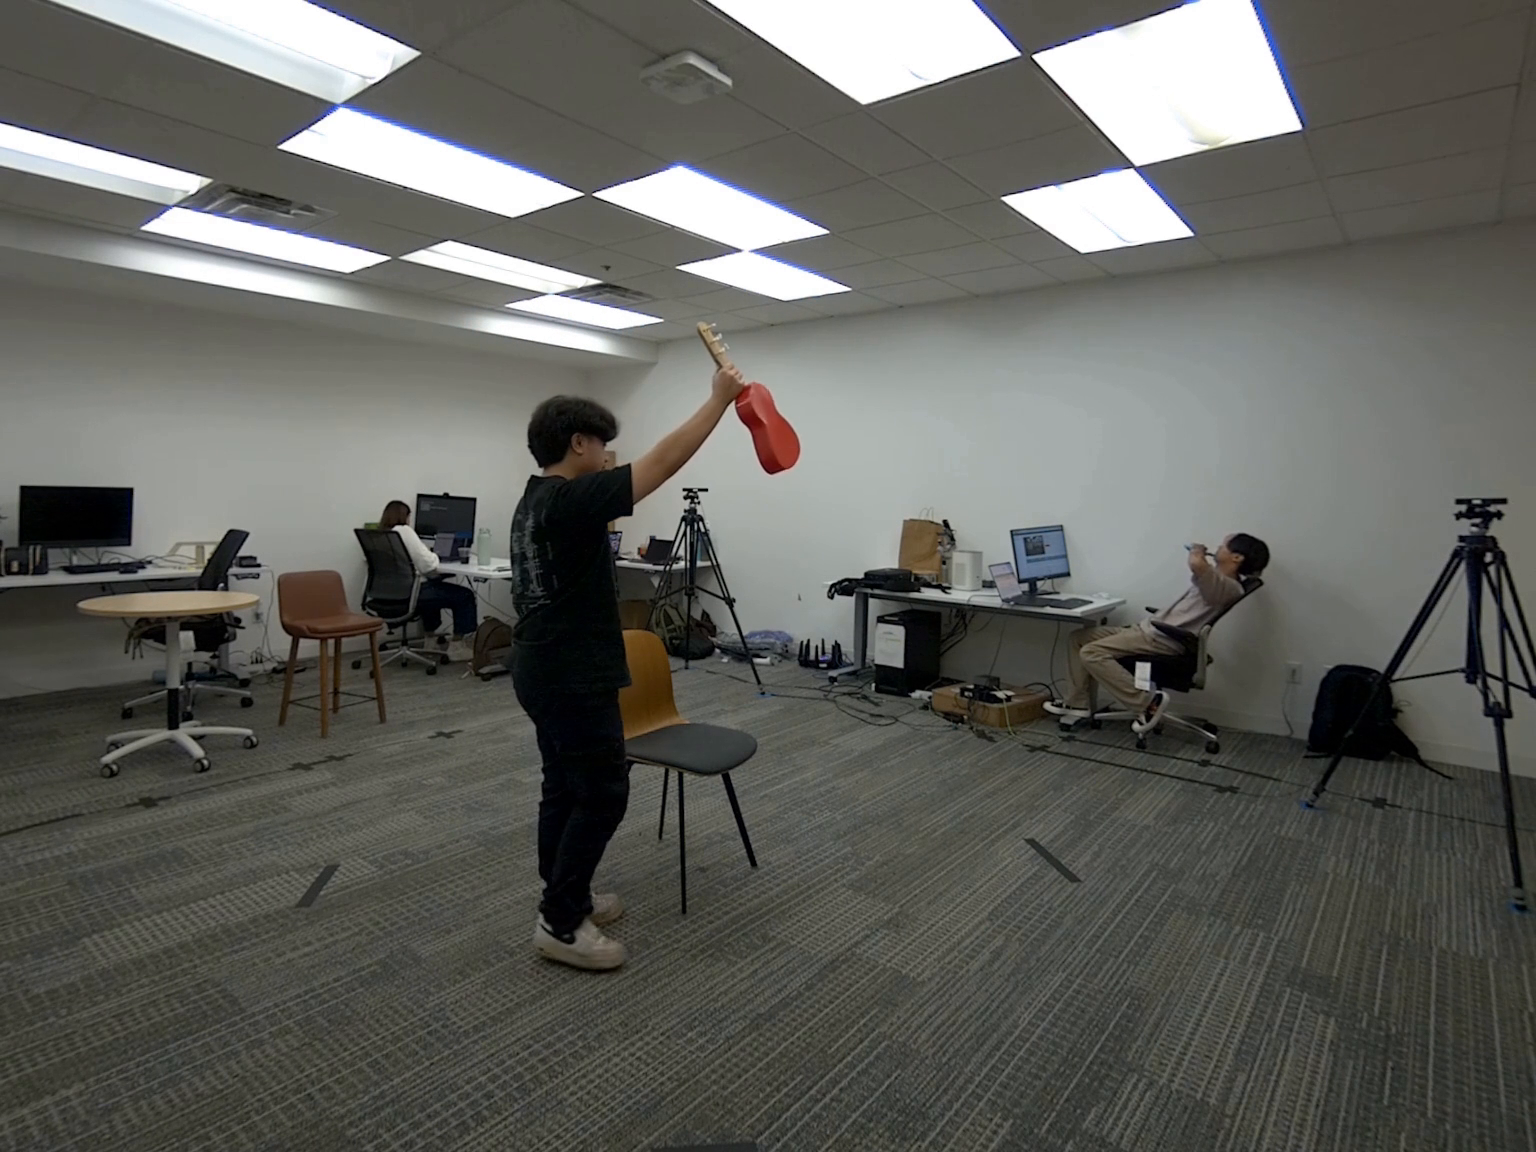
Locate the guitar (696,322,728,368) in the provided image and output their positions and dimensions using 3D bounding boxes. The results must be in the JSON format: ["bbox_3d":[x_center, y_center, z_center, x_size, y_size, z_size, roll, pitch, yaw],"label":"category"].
[{"bbox_3d":[-0.070,-0.518,2.506,0.072,0.483,0.195,-20,29,32],"label":"guitar"}]
